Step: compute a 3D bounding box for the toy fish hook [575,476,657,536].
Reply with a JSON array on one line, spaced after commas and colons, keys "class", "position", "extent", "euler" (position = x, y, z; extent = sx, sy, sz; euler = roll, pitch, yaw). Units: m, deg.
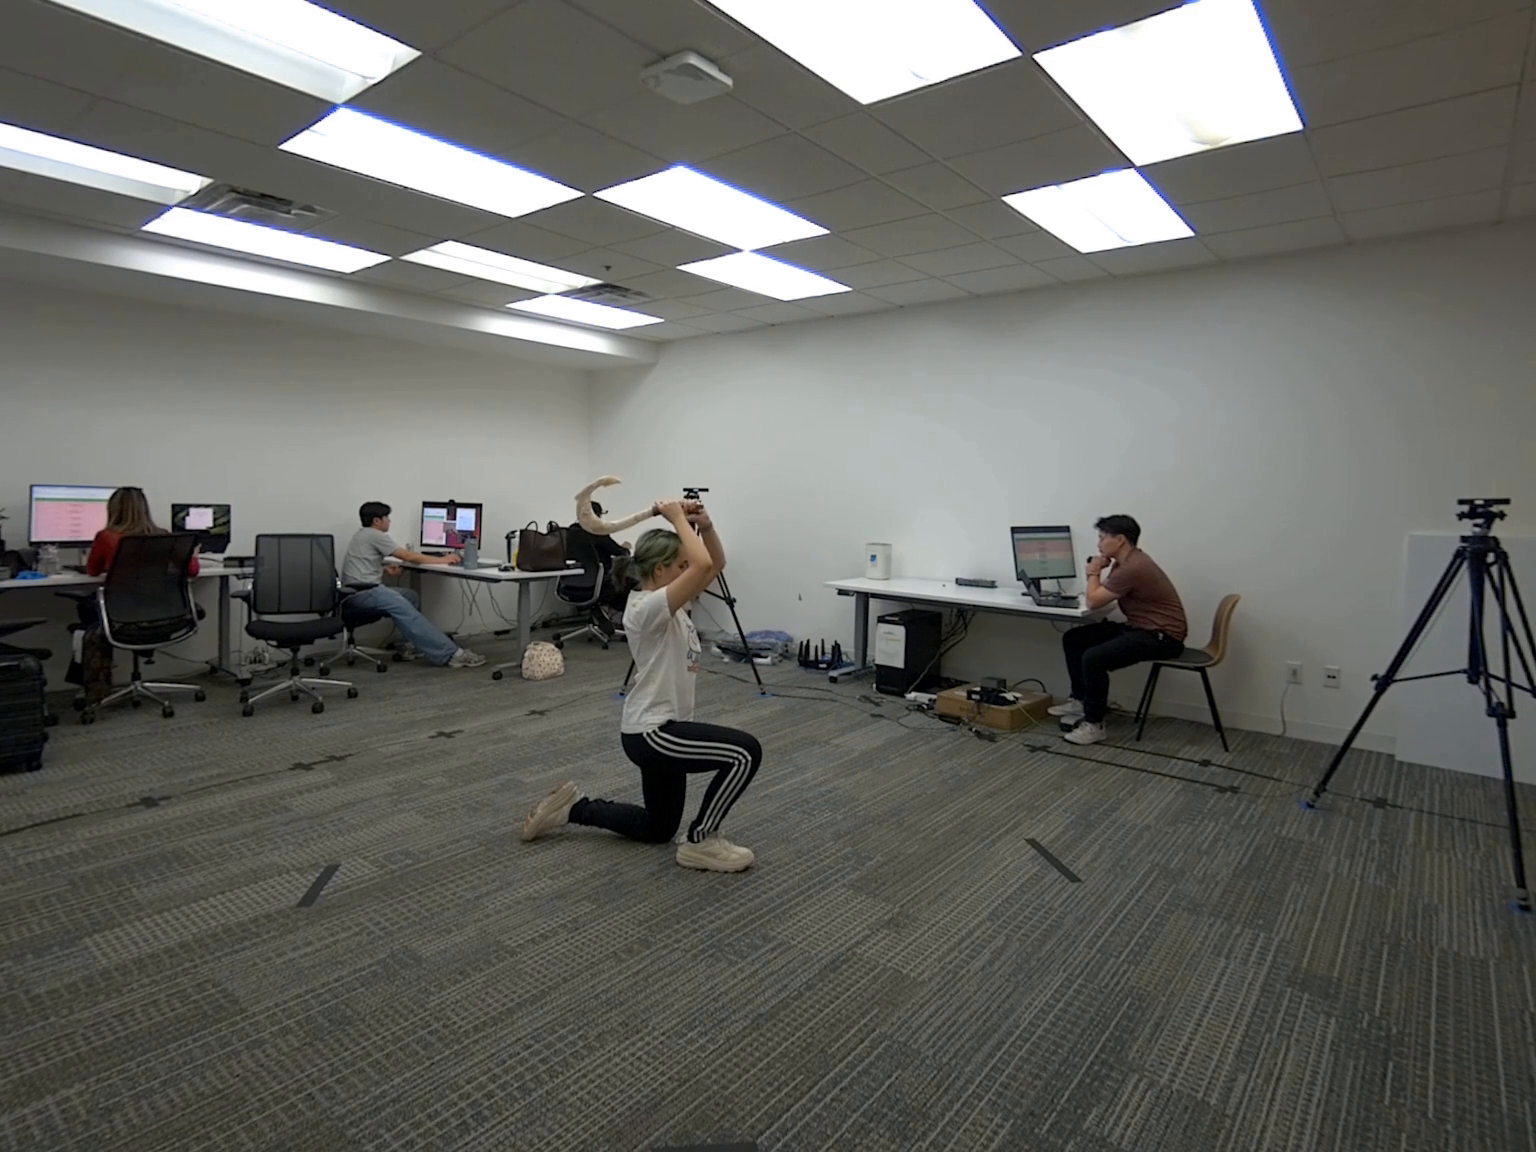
[{"class": "toy fish hook", "position": [-0.514, -0.295, 3.320], "extent": [0.510, 0.223, 0.048], "euler": [-7, 8, 6]}]
